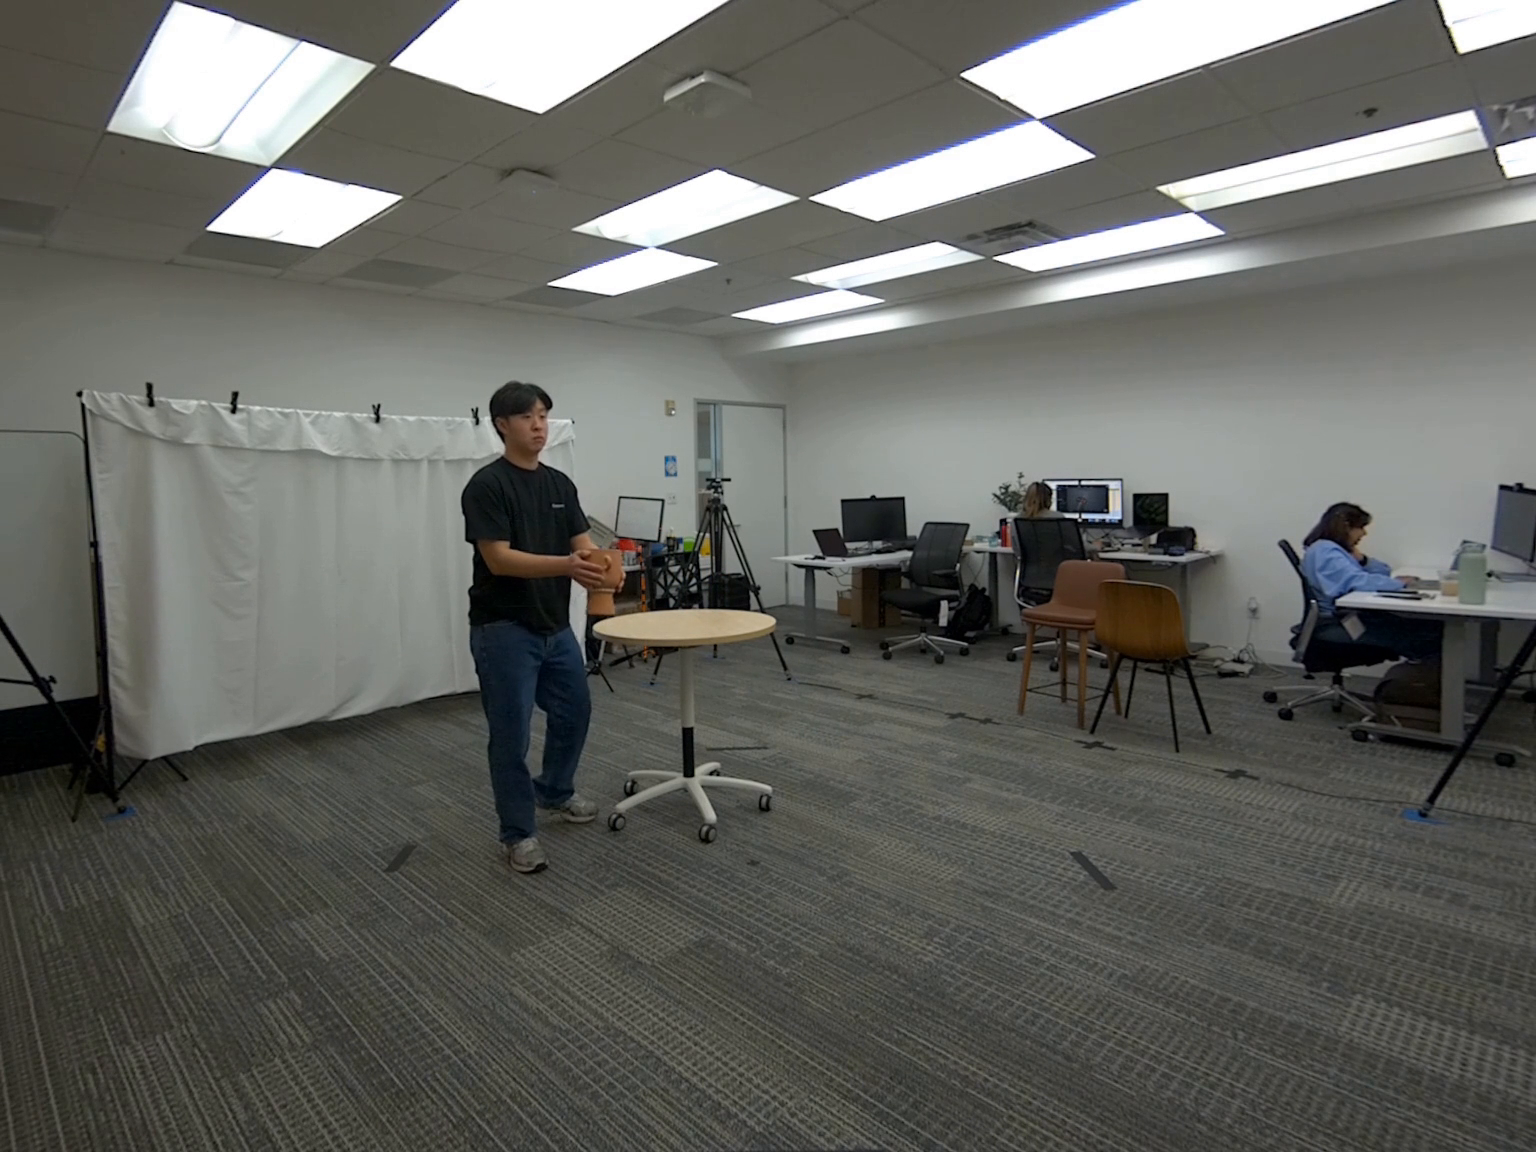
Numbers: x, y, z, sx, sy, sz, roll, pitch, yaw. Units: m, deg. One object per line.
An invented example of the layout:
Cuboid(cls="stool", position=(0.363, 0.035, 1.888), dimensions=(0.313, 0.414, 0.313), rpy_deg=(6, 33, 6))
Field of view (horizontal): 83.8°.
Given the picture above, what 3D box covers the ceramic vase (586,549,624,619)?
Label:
Cuboid(cls="ceramic vase", position=(-0.569, 0.021, 2.906), dimensions=(0.136, 0.220, 0.156), rpy_deg=(1, -2, 11))
